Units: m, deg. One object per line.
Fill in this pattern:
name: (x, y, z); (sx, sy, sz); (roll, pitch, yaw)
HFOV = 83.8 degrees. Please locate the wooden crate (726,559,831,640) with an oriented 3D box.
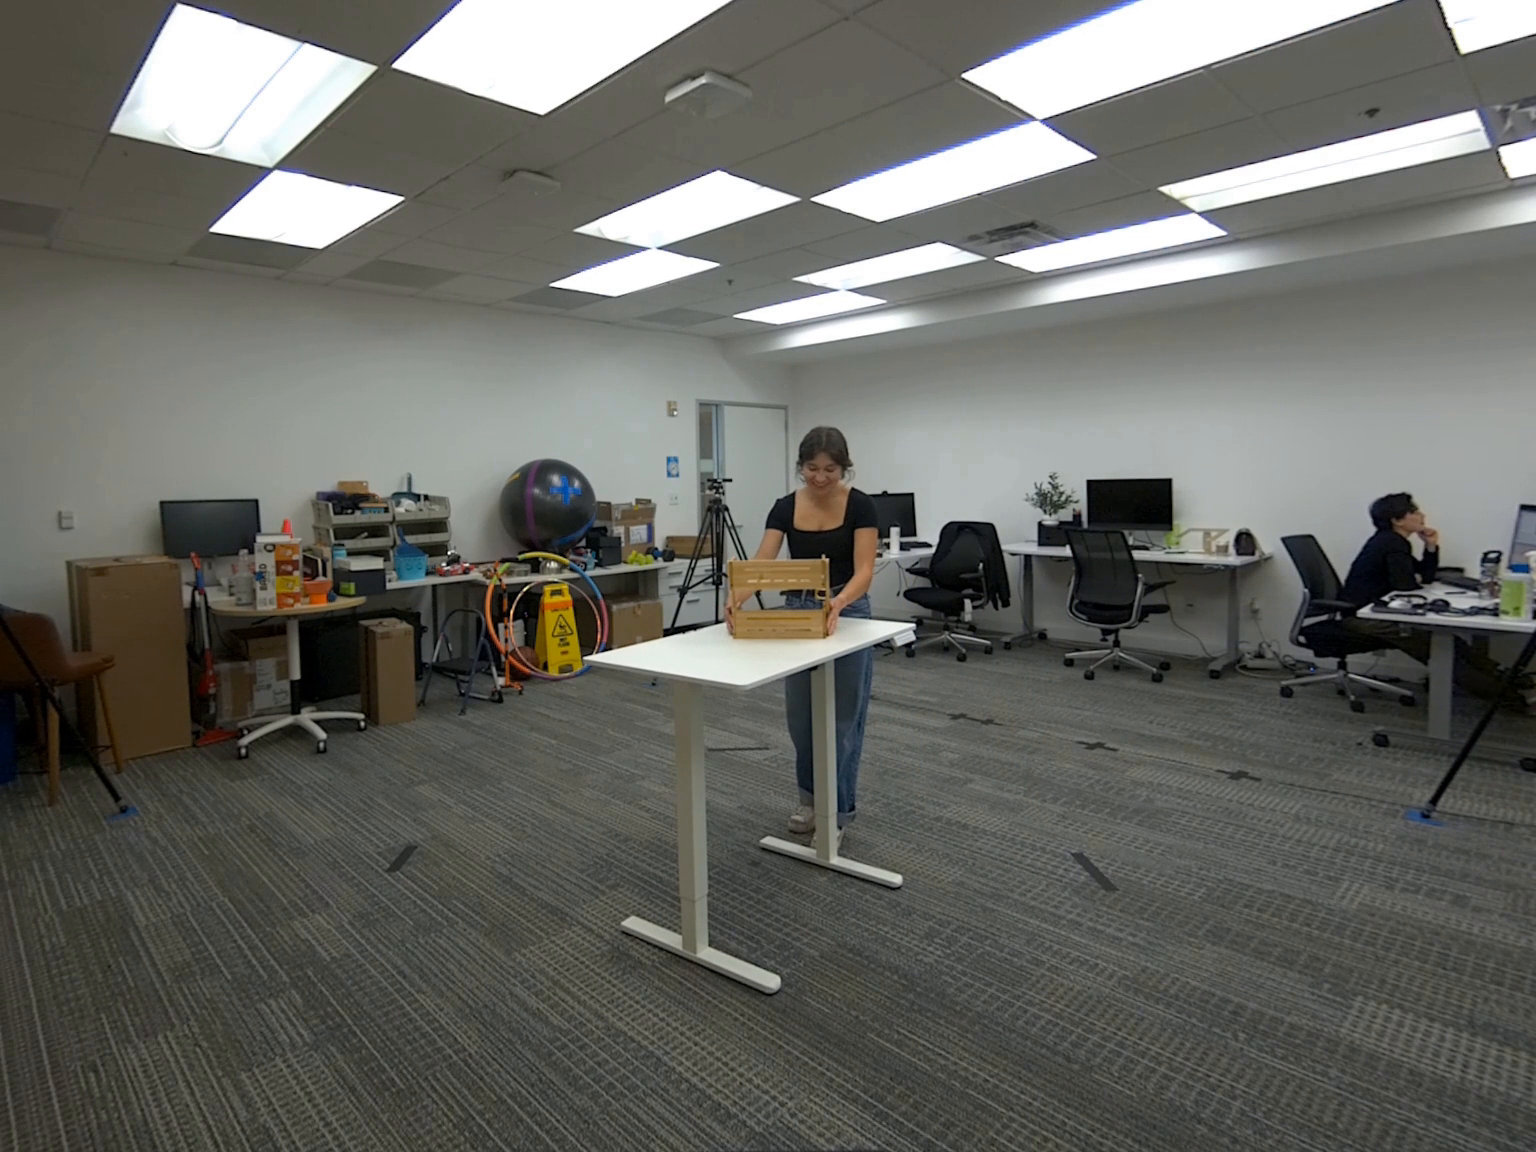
wooden crate: (0.044, 0.065, 2.841); (0.327, 0.272, 0.301); (0, 5, 7)
